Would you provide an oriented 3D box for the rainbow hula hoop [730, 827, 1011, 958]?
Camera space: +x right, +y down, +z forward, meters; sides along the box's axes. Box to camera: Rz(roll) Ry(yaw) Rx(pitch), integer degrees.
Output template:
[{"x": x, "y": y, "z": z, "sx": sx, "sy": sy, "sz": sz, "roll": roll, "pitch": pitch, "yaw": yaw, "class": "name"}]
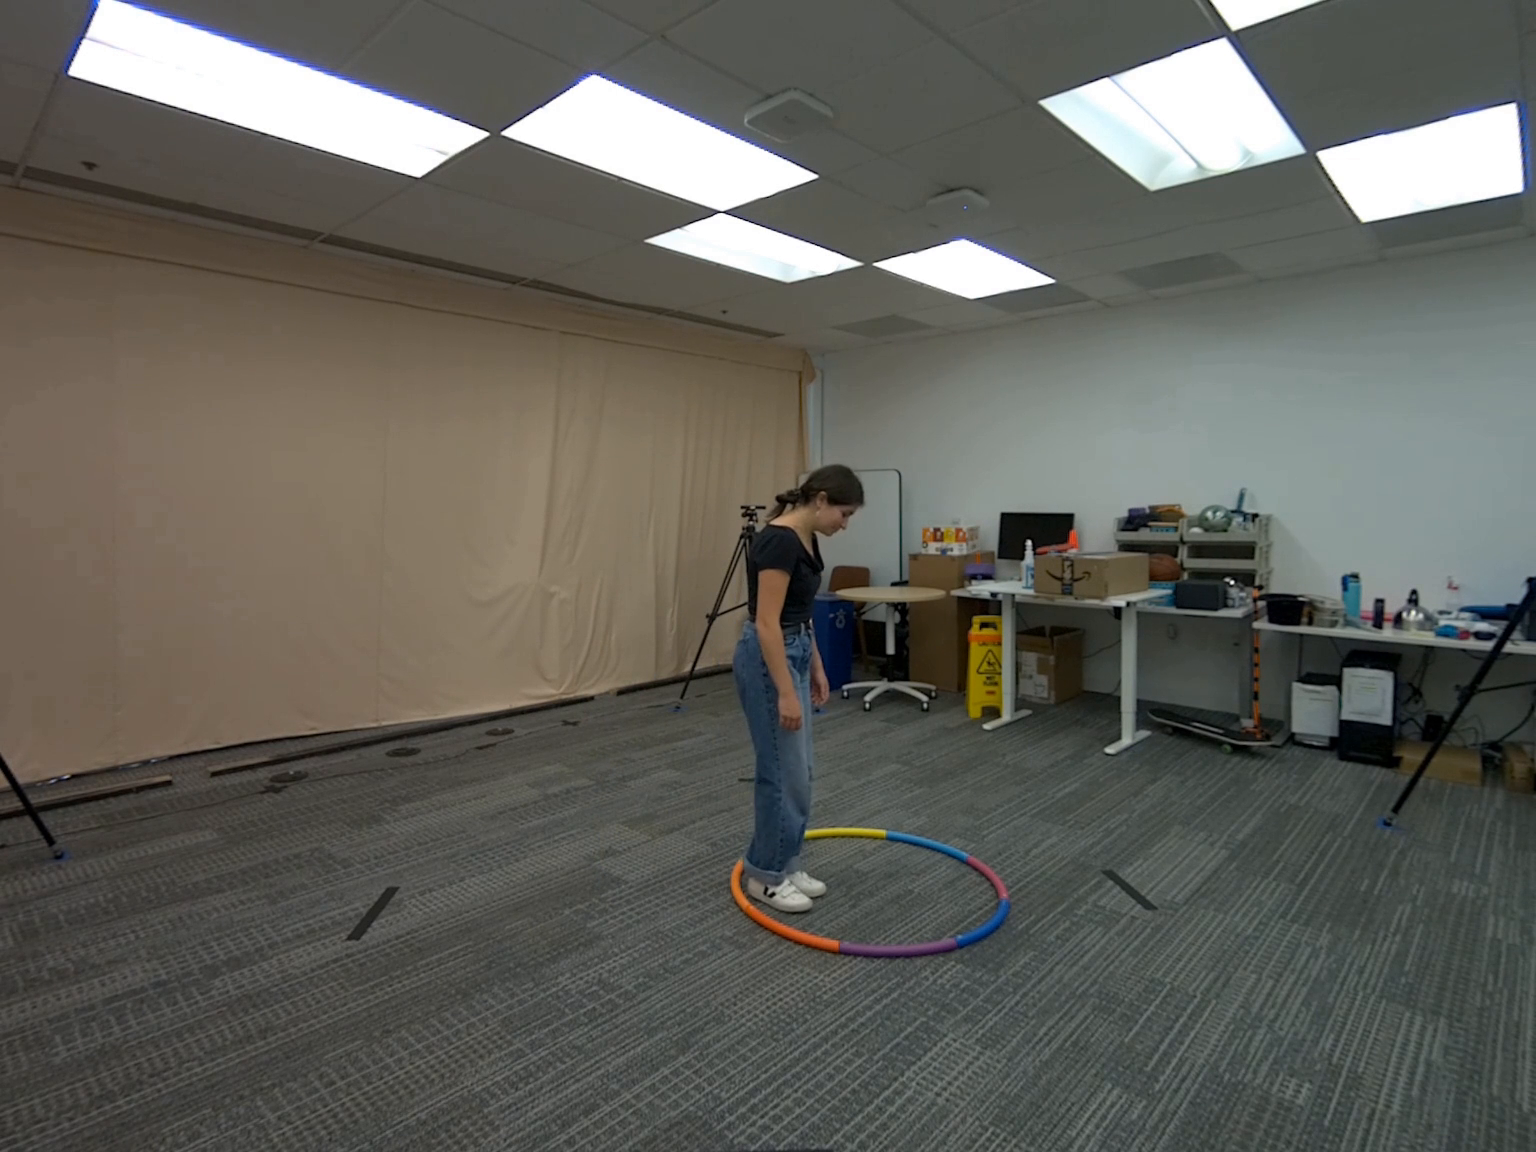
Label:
[{"x": 0.360, "y": 1.105, "z": 3.073, "sx": 0.978, "sy": 0.035, "sz": 0.982, "roll": 0, "pitch": 5, "yaw": -2, "class": "rainbow hula hoop"}]
